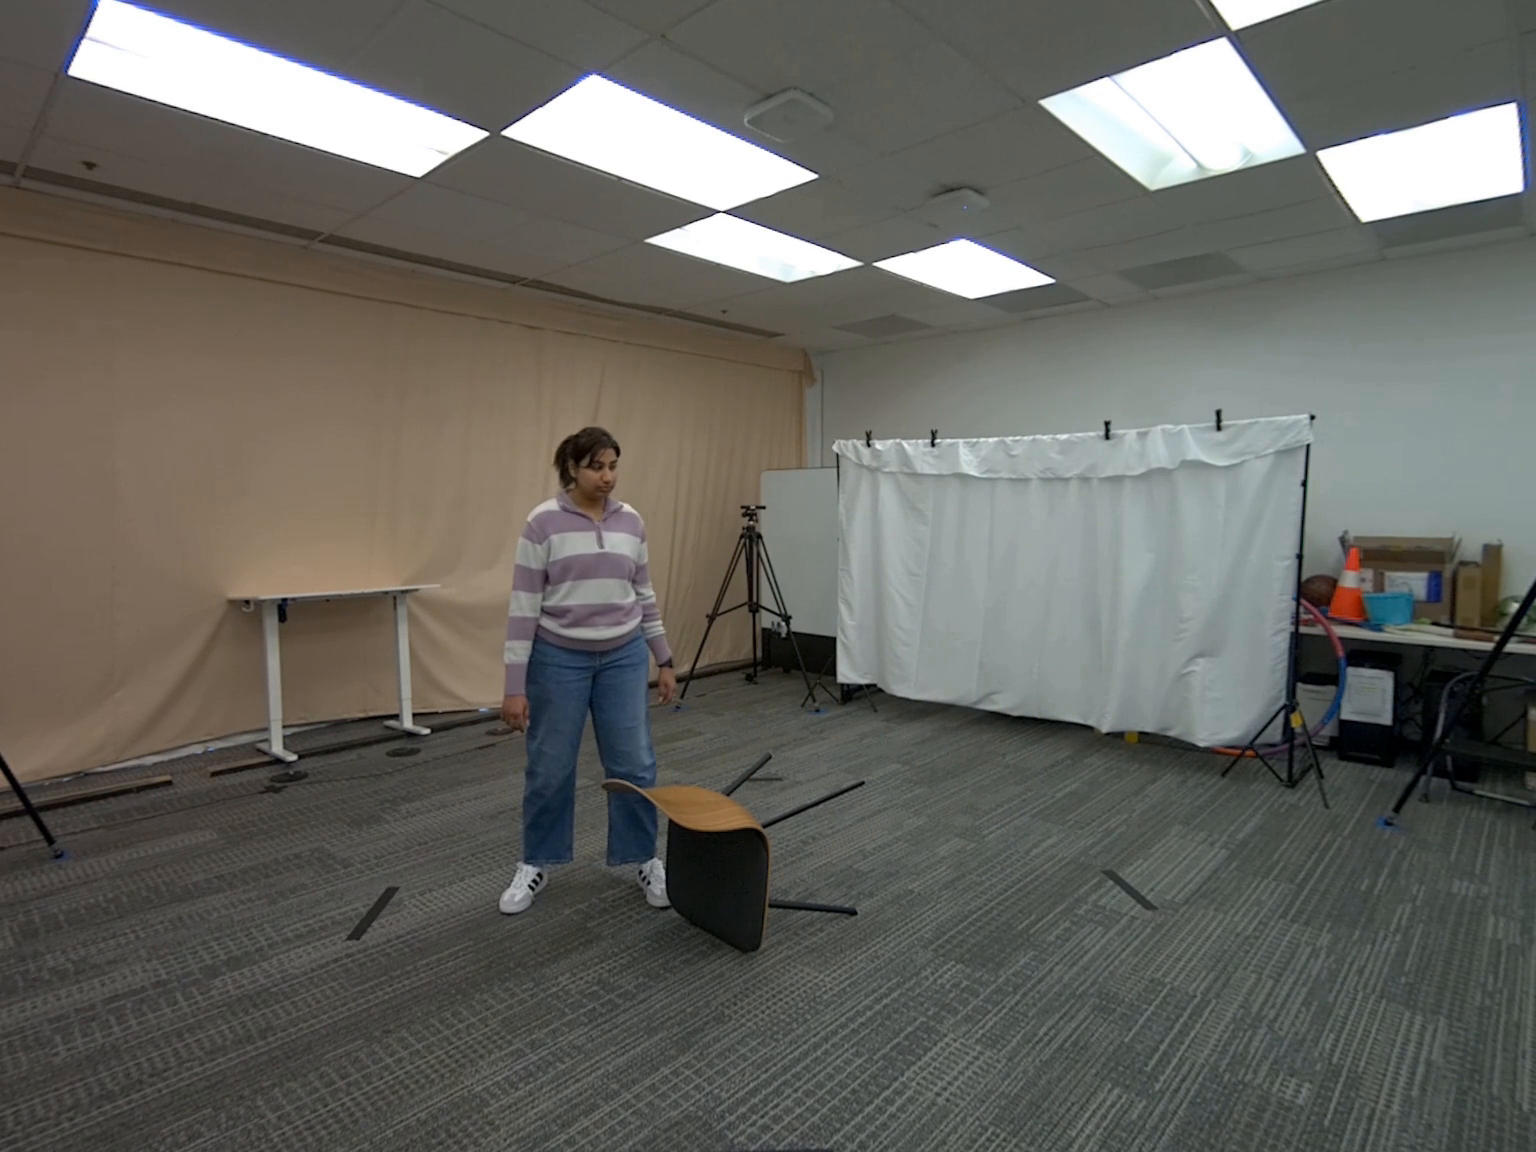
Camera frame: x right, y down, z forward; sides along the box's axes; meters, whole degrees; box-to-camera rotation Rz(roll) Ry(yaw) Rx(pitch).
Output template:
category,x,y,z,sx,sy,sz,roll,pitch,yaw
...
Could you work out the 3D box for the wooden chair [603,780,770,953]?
category,x,y,z,sx,sy,sz,roll,pitch,yaw
wooden chair,-0.139,0.908,2.739,0.494,0.523,0.847,5,-2,45
